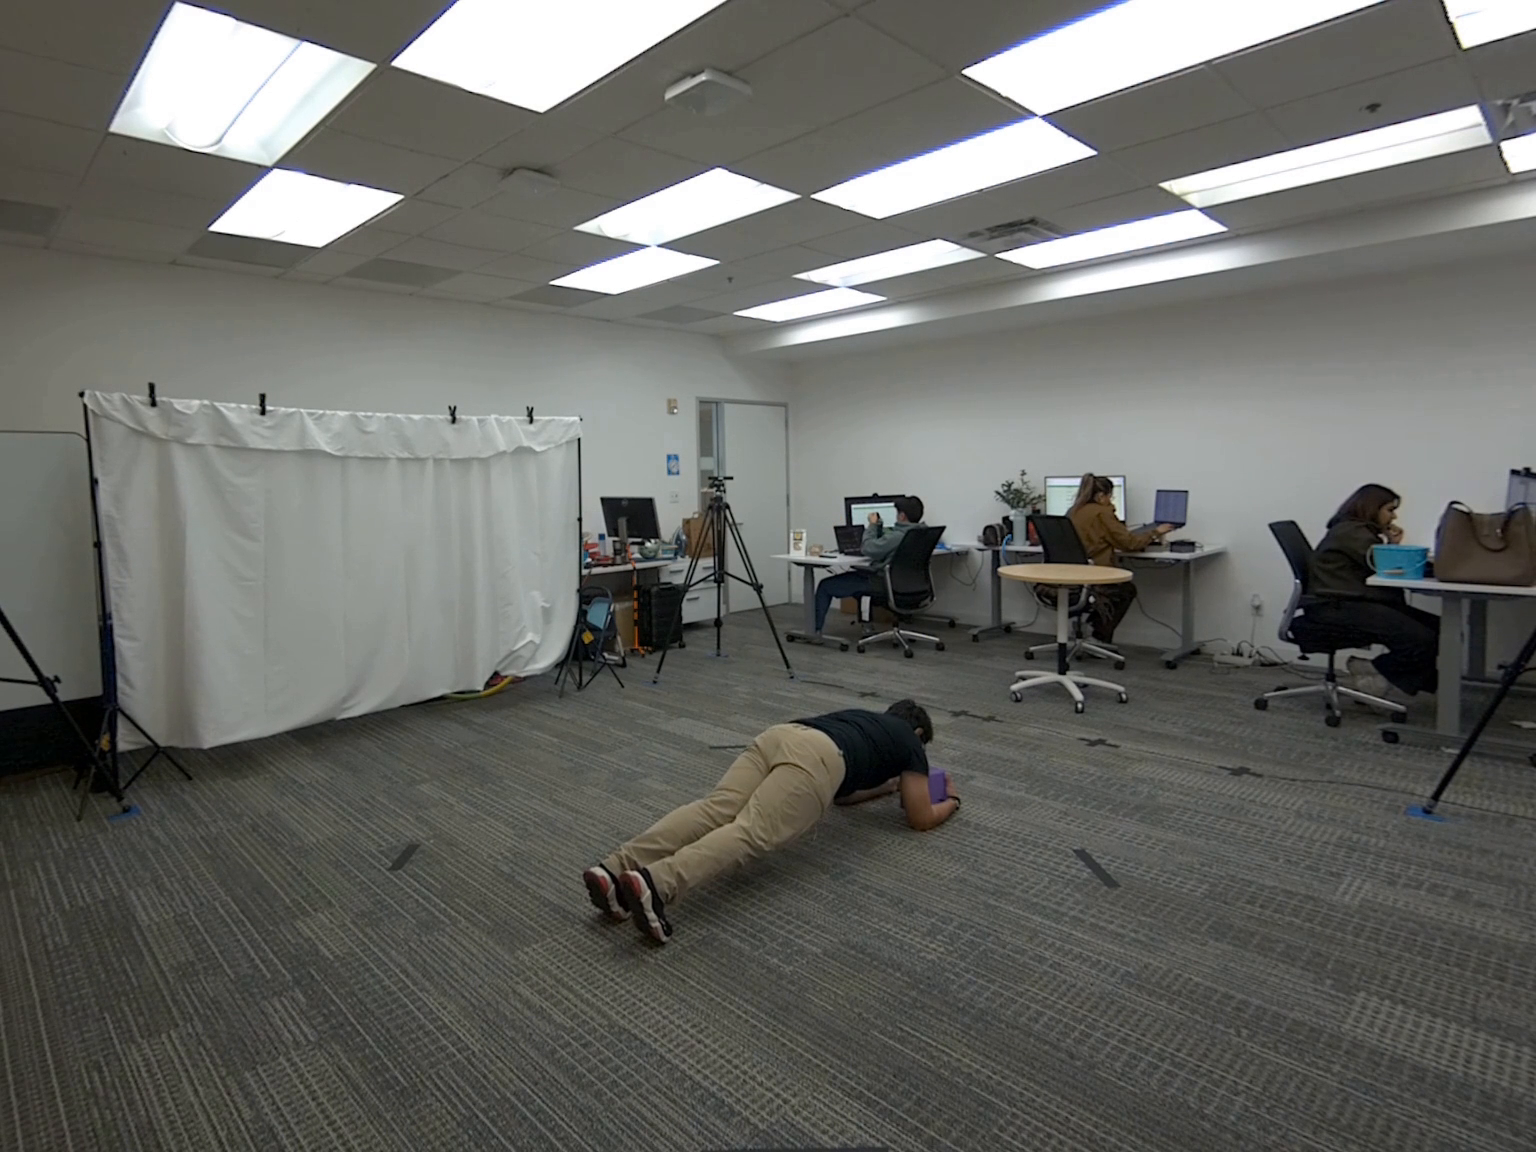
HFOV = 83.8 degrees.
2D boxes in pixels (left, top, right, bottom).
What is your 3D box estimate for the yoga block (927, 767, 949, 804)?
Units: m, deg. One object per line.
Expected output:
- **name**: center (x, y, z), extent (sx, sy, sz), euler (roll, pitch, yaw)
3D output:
- **yoga block**: center (0.649, 0.877, 3.498), extent (0.222, 0.149, 0.078), euler (3, -4, -43)
